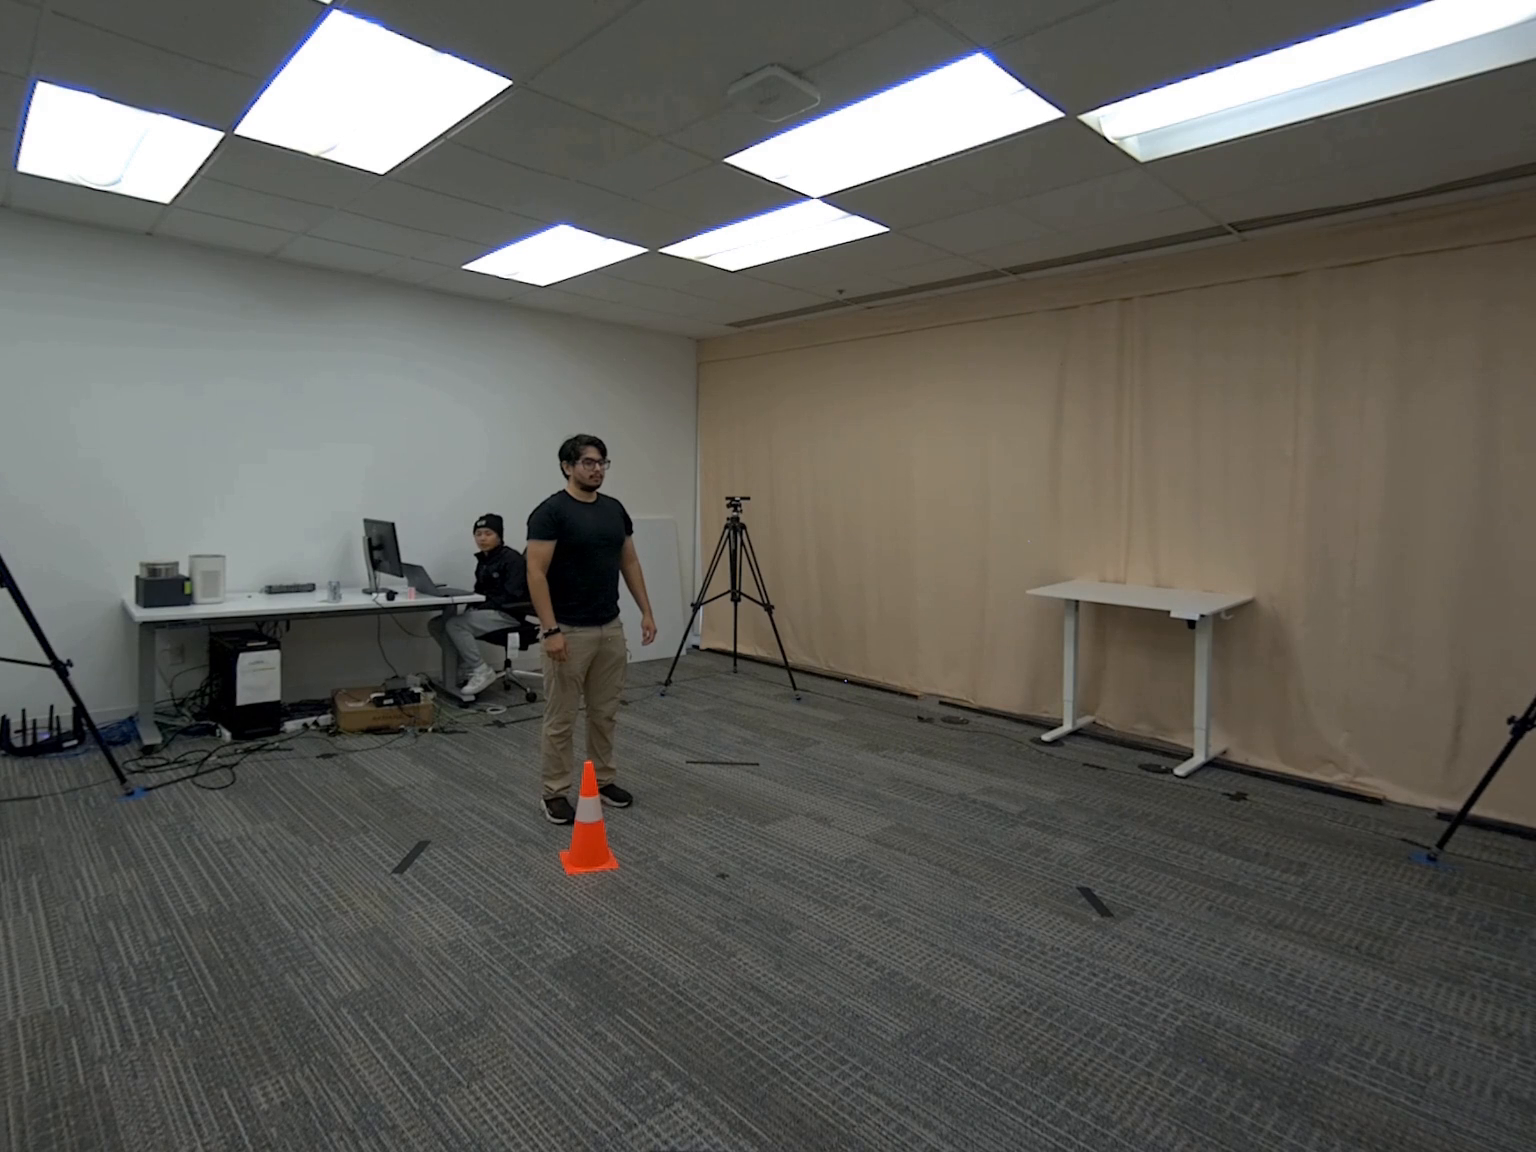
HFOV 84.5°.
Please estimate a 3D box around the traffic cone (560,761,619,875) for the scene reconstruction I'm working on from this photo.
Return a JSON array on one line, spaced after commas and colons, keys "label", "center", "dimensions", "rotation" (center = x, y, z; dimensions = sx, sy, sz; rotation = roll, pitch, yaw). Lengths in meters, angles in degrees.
[{"label": "traffic cone", "center": [-0.696, 0.904, 3.207], "dimensions": [0.200, 0.383, 0.209], "rotation": [1, 2, -25]}]
